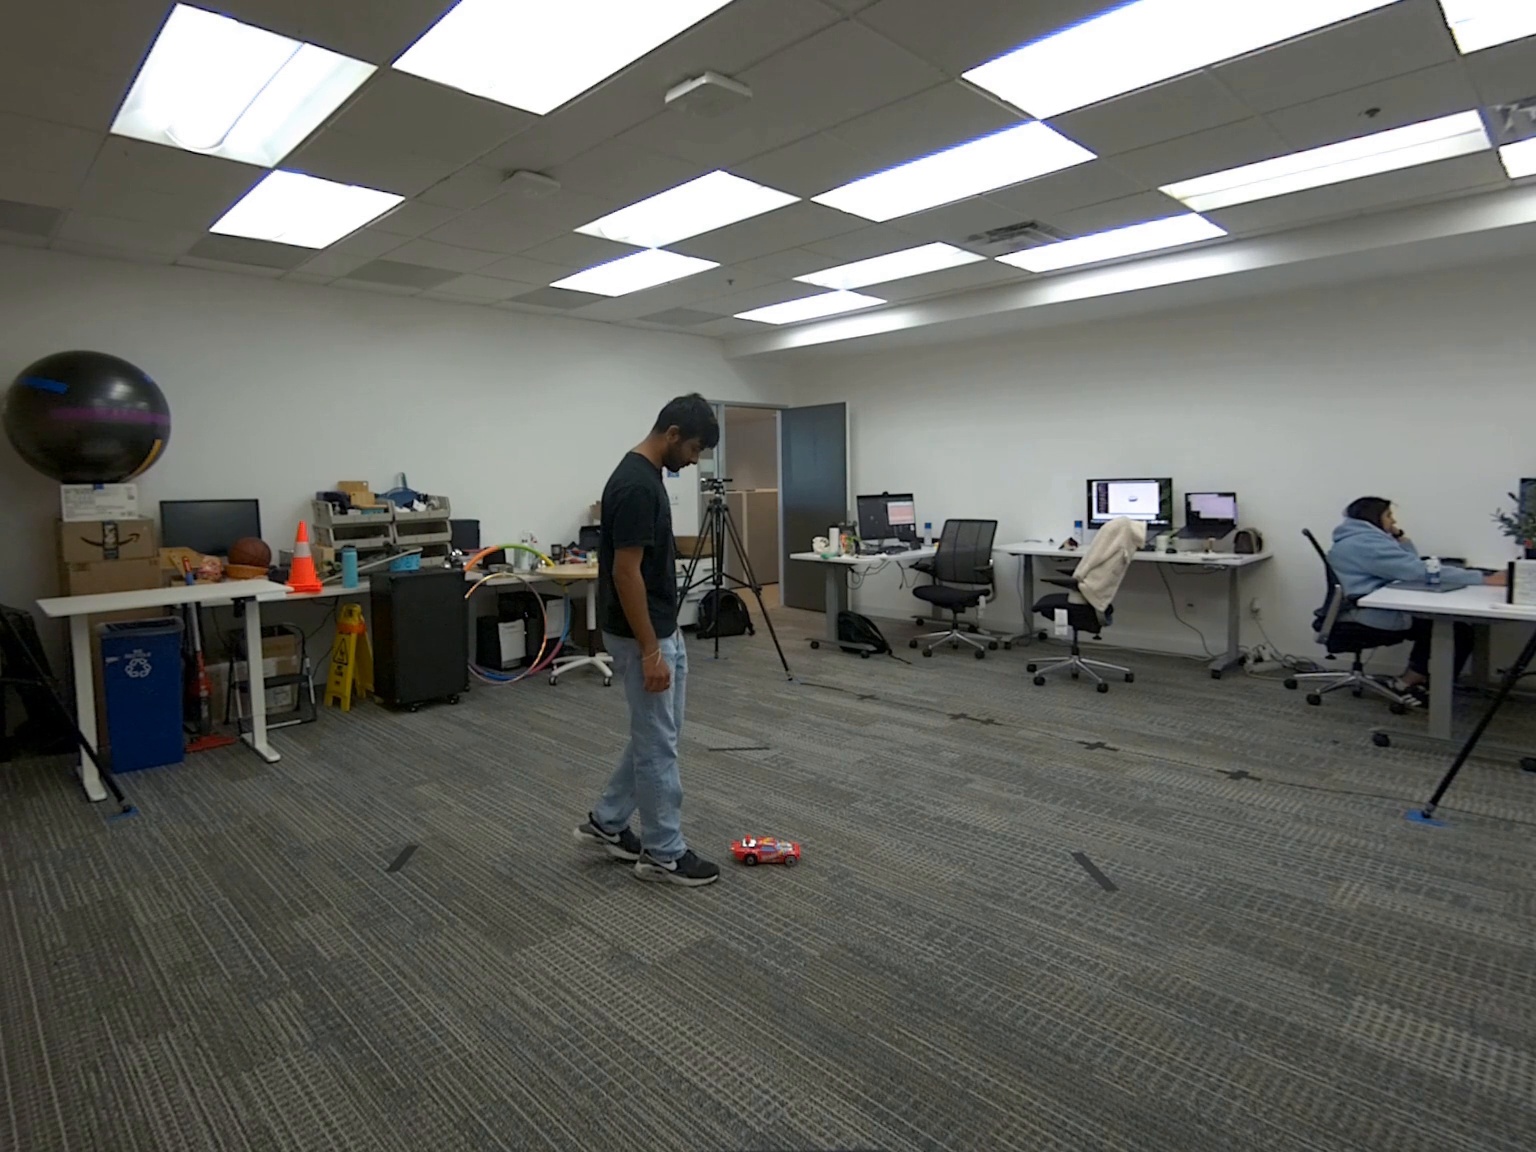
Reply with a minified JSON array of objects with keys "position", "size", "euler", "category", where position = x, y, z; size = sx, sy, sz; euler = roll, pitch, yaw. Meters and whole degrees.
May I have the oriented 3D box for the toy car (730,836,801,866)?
[{"position":[-0.015,1.004,3.123],"size":[0.255,0.083,0.130],"euler":[11,5,3],"category":"toy car"}]
